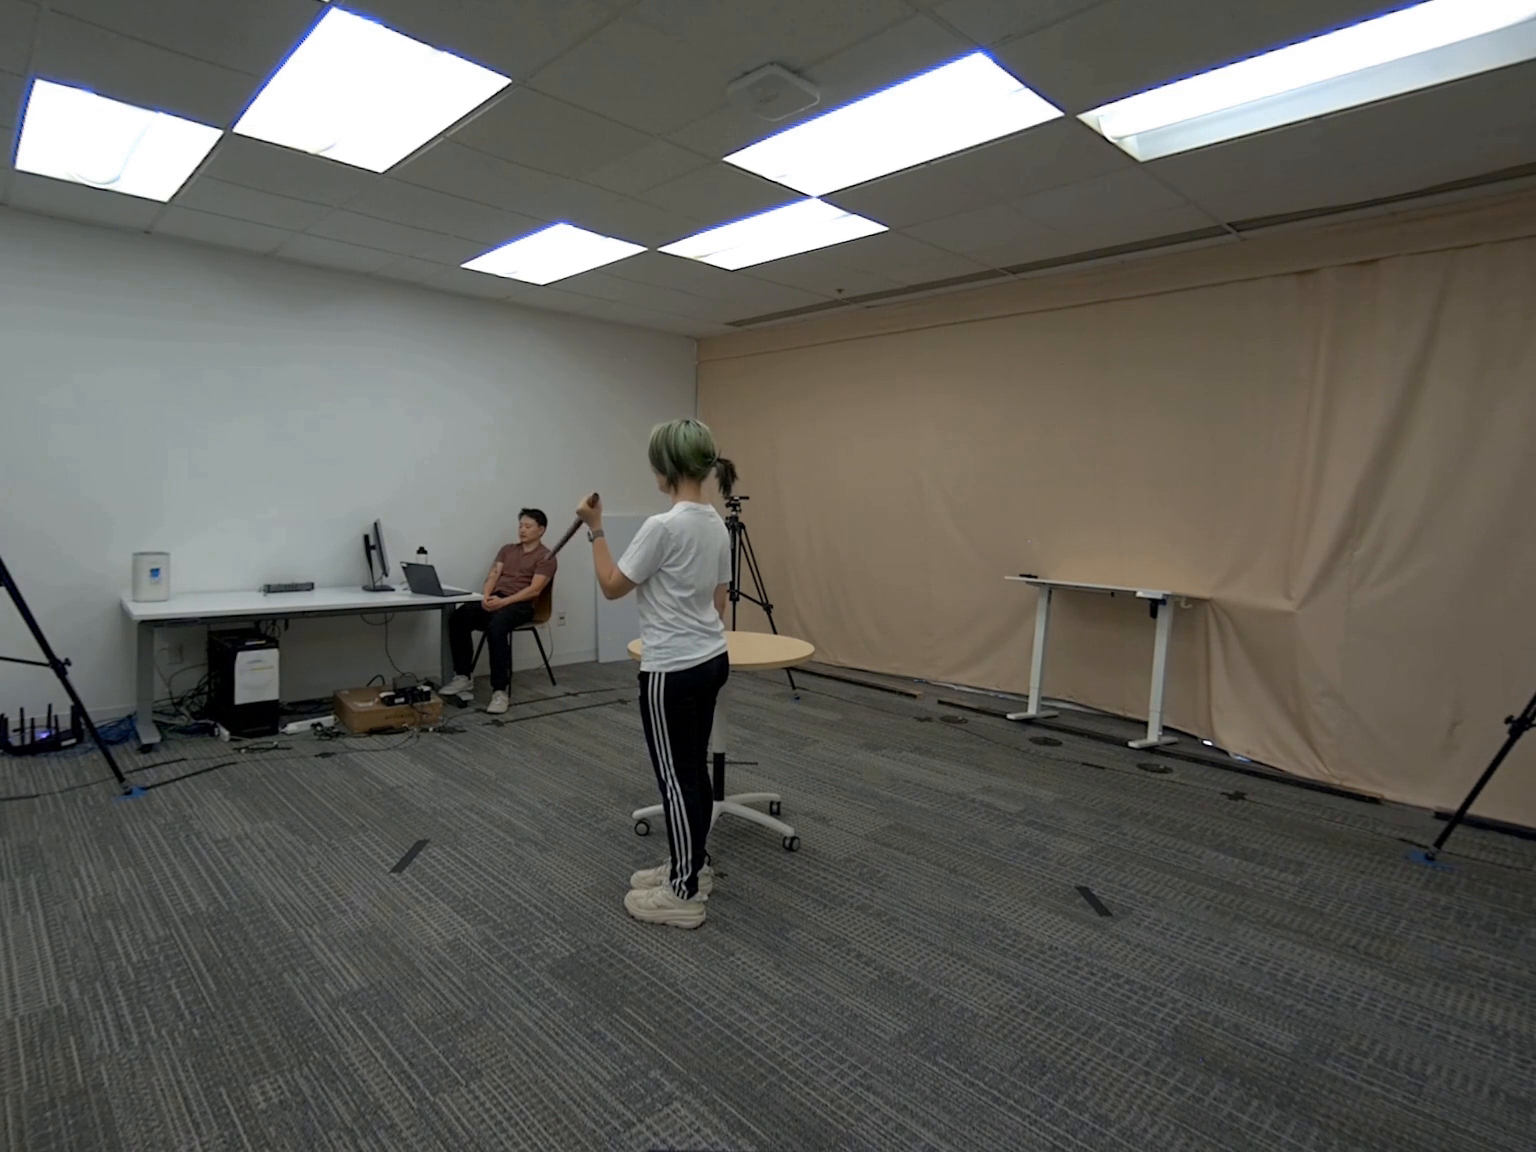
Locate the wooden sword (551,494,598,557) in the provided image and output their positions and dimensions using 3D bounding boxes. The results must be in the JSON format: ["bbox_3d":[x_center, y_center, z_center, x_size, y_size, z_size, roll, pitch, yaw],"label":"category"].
[{"bbox_3d":[-0.761,-0.139,3.131,0.024,0.052,1.032,-9,-8,-24],"label":"wooden sword"}]
